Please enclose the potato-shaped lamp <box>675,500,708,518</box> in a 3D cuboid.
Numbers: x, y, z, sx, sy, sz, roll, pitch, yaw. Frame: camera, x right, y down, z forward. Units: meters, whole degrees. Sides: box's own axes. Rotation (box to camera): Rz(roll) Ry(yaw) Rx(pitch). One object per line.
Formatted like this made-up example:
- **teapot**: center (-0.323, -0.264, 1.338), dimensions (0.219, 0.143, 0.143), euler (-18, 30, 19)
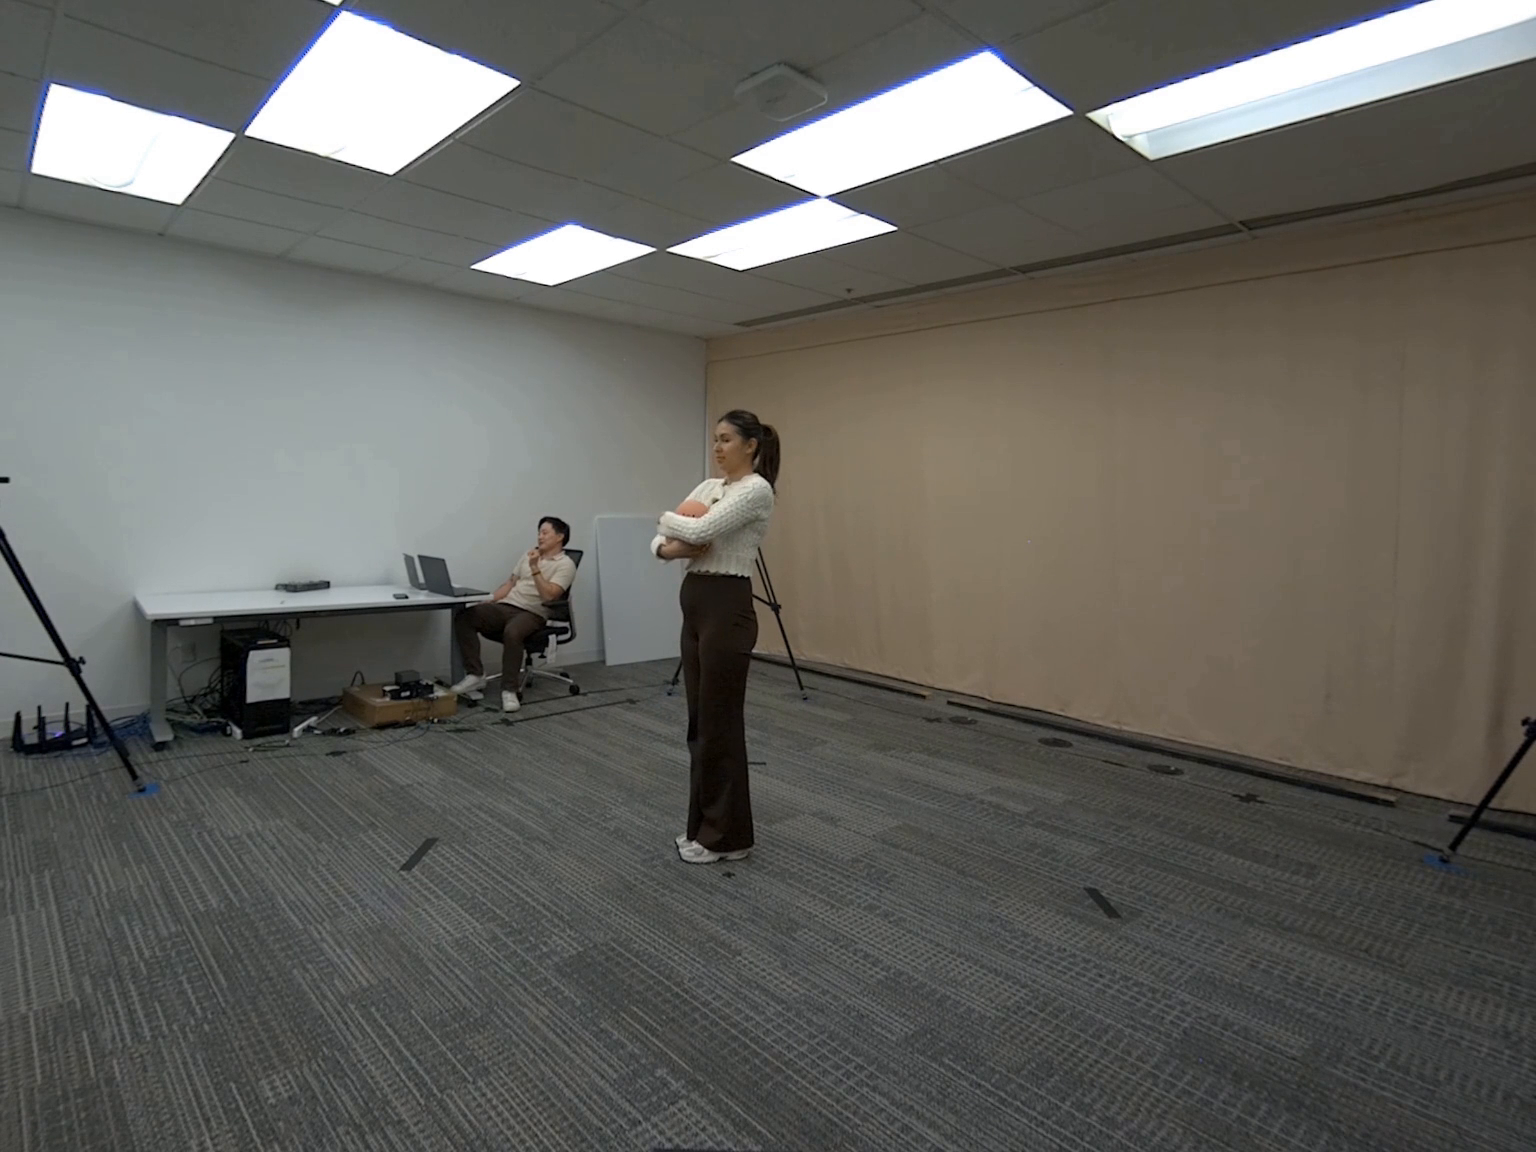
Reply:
- **potato-shaped lamp**: center (-0.275, -0.180, 3.169), dimensions (0.173, 0.197, 0.163), euler (18, 6, 12)
